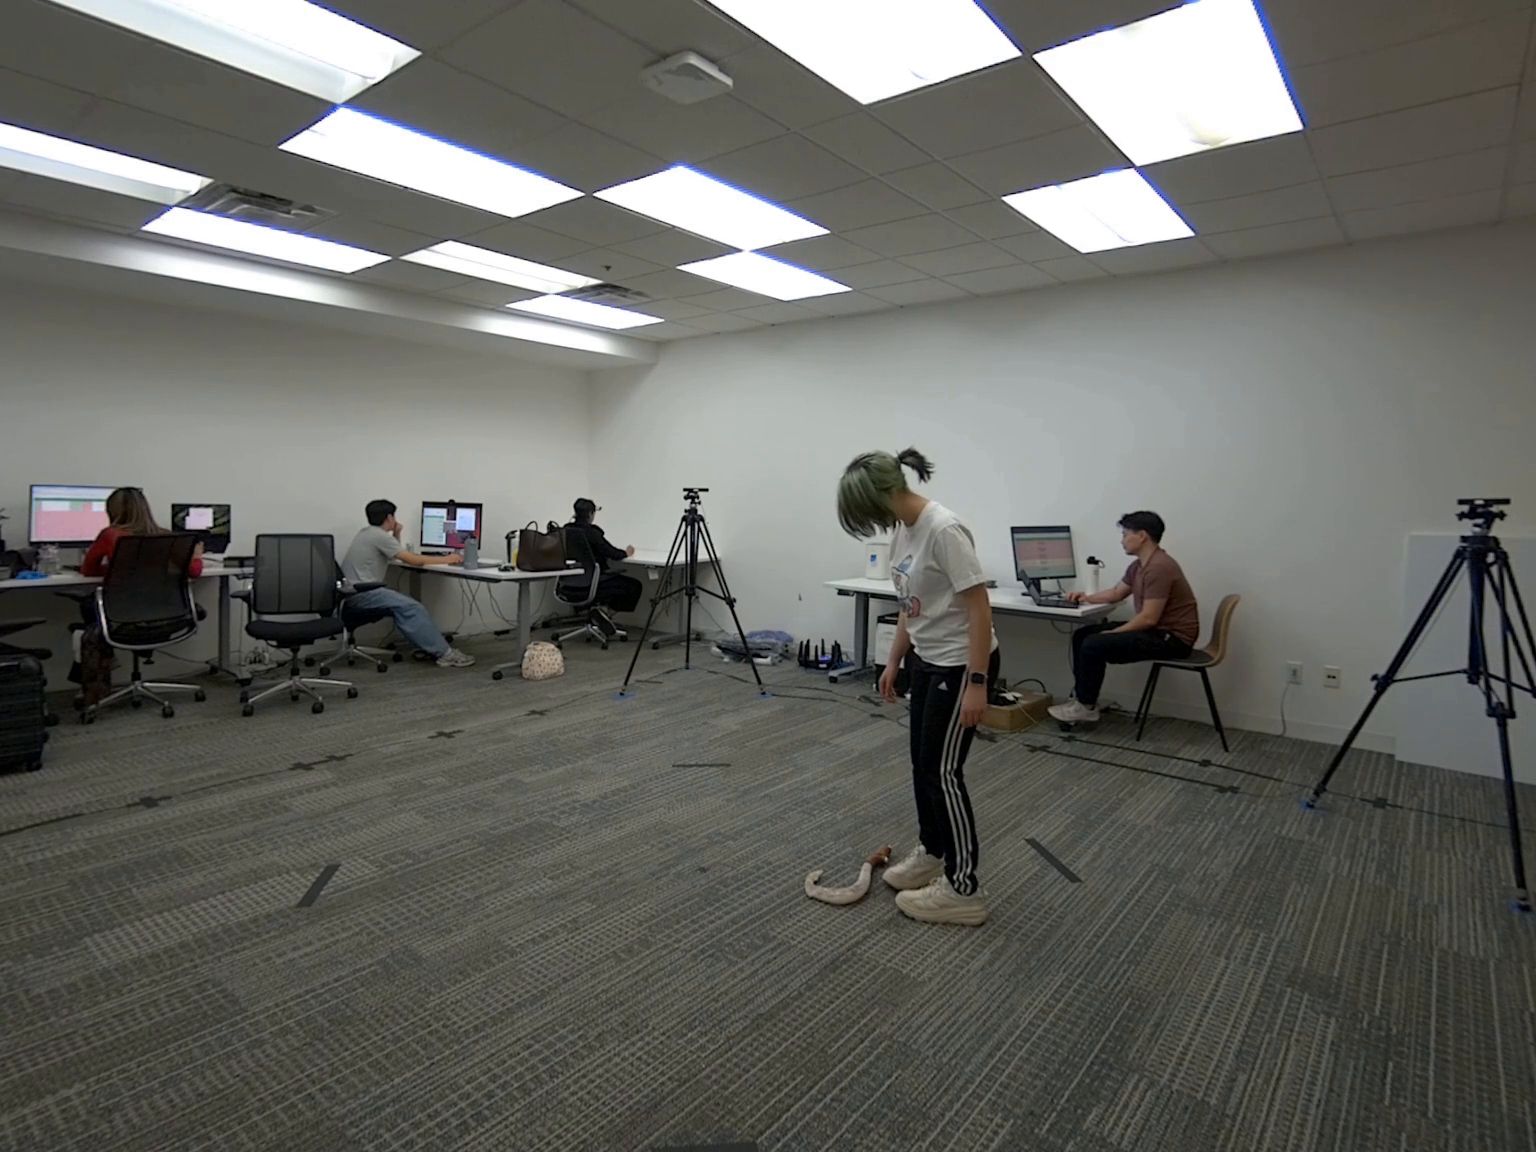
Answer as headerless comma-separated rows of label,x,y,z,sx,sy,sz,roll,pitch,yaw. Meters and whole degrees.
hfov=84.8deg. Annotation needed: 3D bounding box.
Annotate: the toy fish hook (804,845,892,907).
toy fish hook,0.291,1.062,3.081,0.231,0.048,0.494,7,8,28
